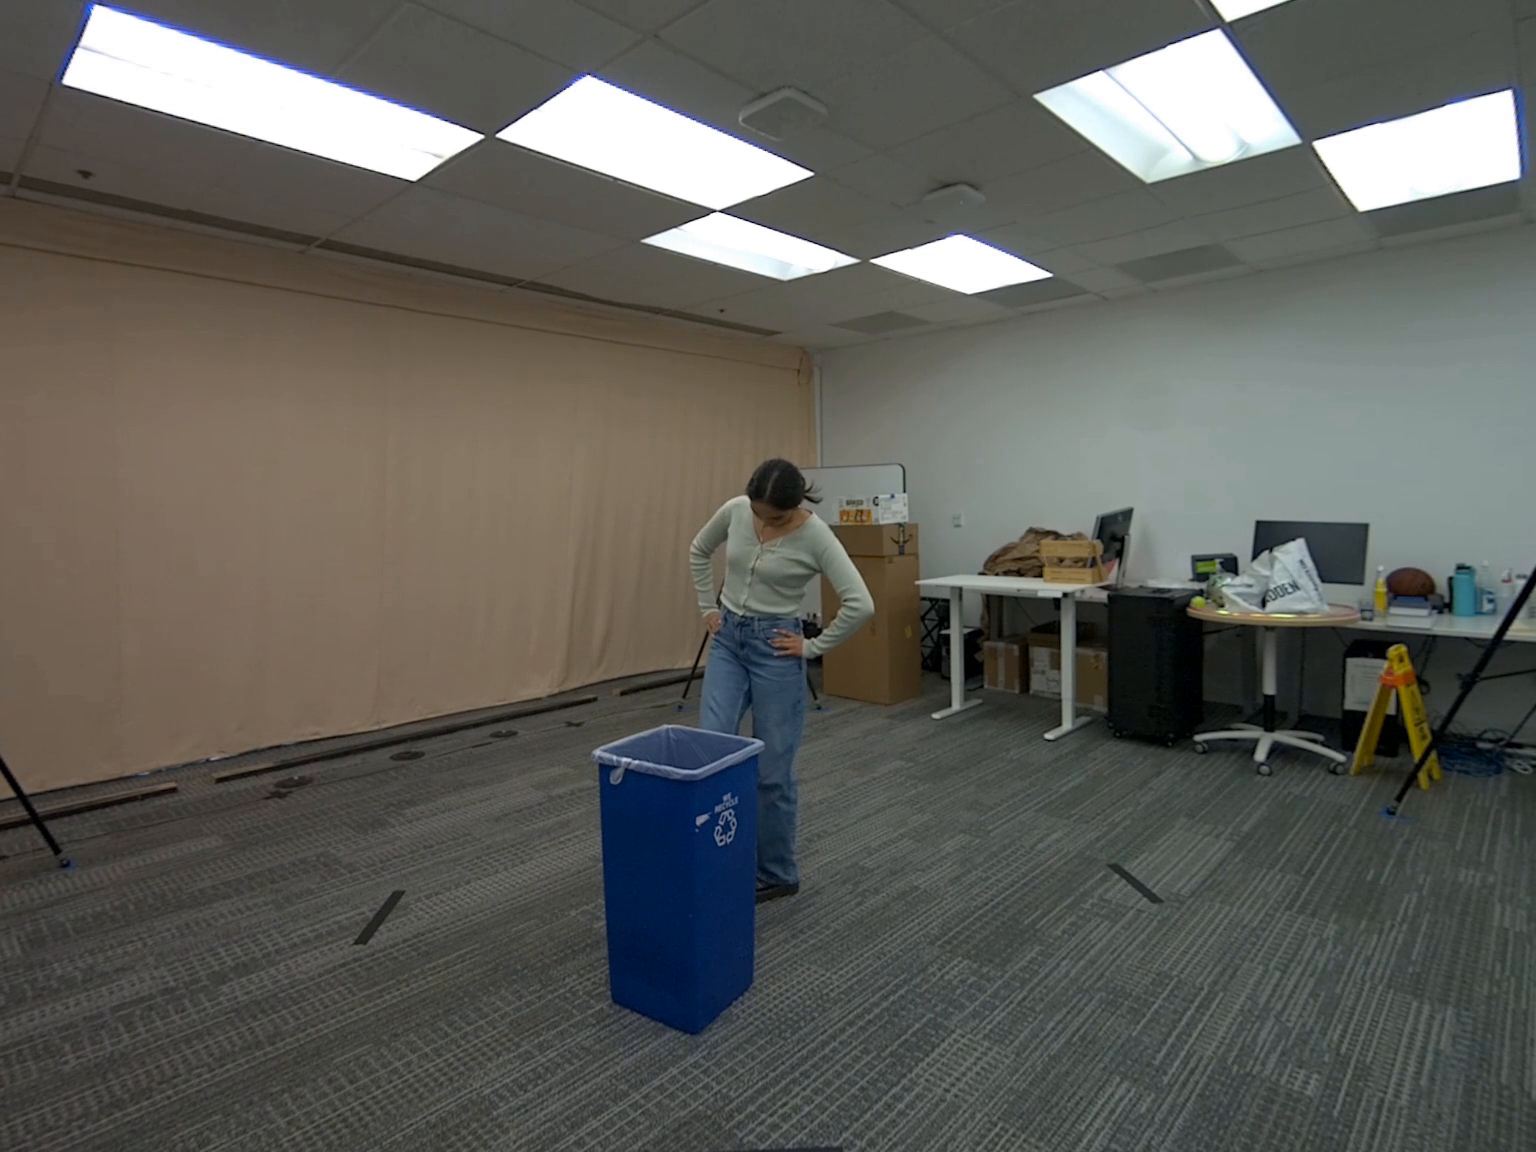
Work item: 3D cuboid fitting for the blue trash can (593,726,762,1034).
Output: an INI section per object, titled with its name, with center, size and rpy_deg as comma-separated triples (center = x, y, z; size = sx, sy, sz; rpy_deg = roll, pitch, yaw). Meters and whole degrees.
[blue trash can]
center = -0.240, 0.838, 2.395
size = 0.385, 0.712, 0.367
rpy_deg = 1, 3, 33
